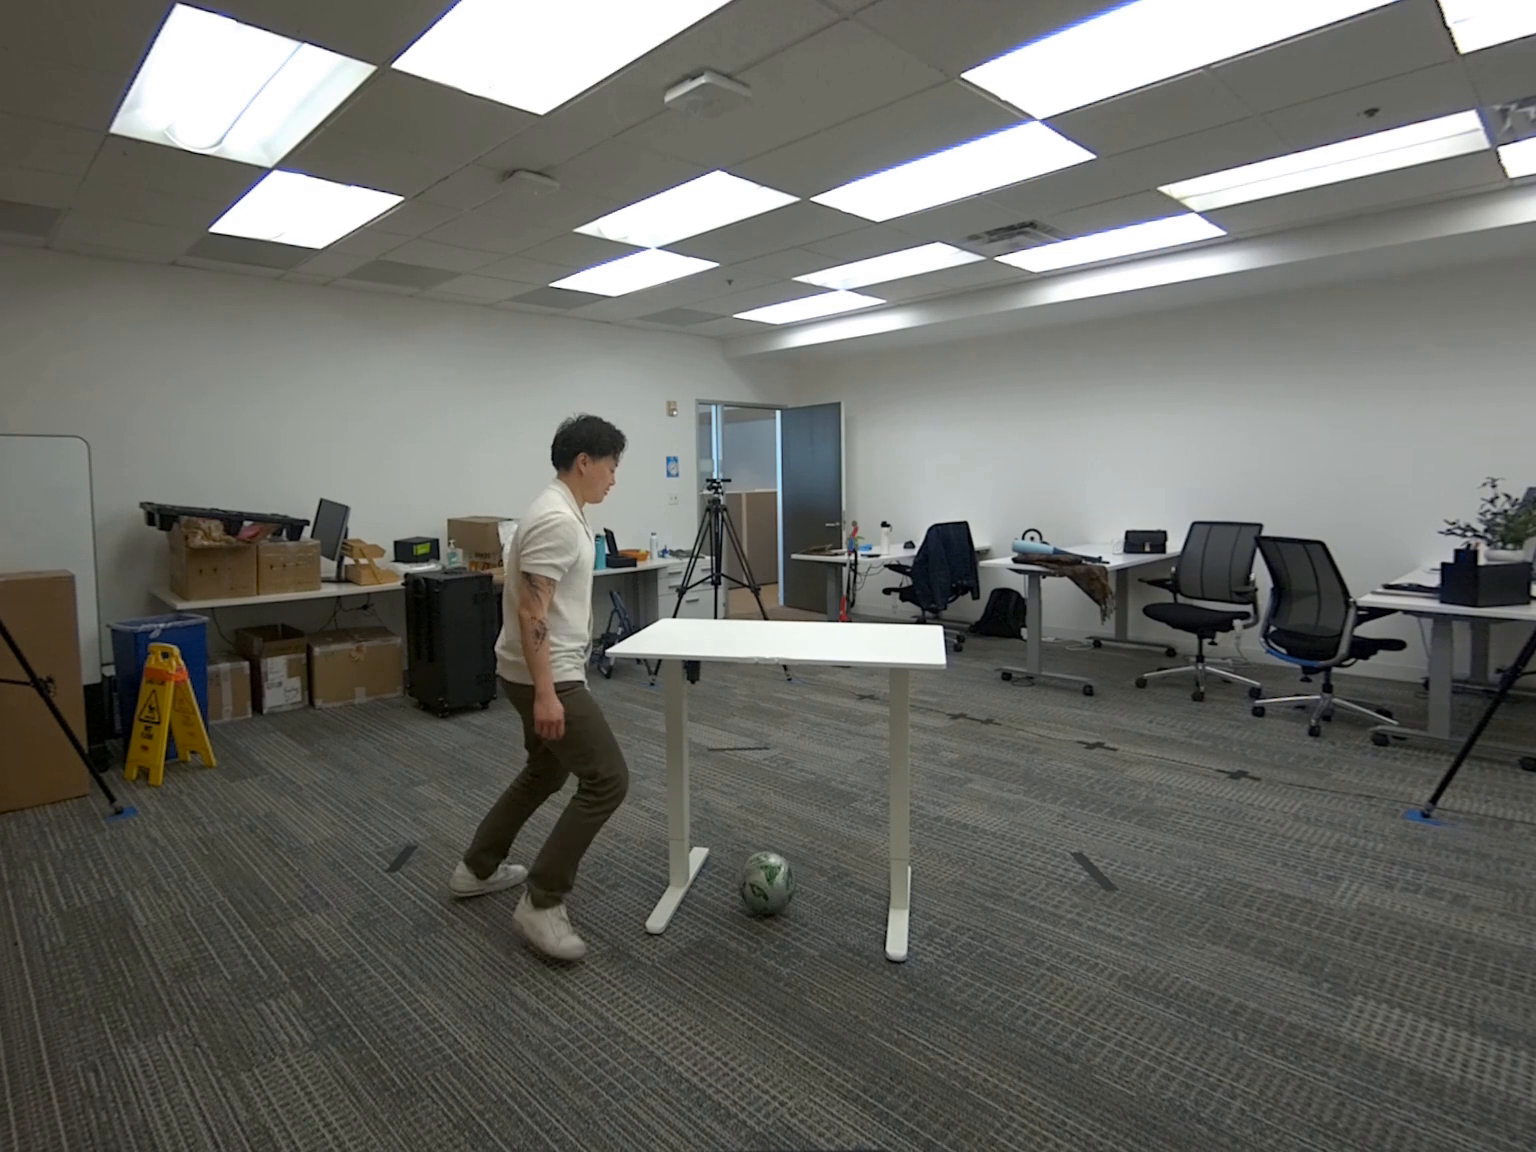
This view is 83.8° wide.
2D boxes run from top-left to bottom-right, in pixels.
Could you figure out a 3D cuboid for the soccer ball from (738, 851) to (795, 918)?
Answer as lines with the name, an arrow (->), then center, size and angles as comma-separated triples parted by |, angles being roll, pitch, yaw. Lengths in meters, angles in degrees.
soccer ball -> -0.008, 0.983, 2.754 | 0.187, 0.187, 0.188 | -1, 5, -2
